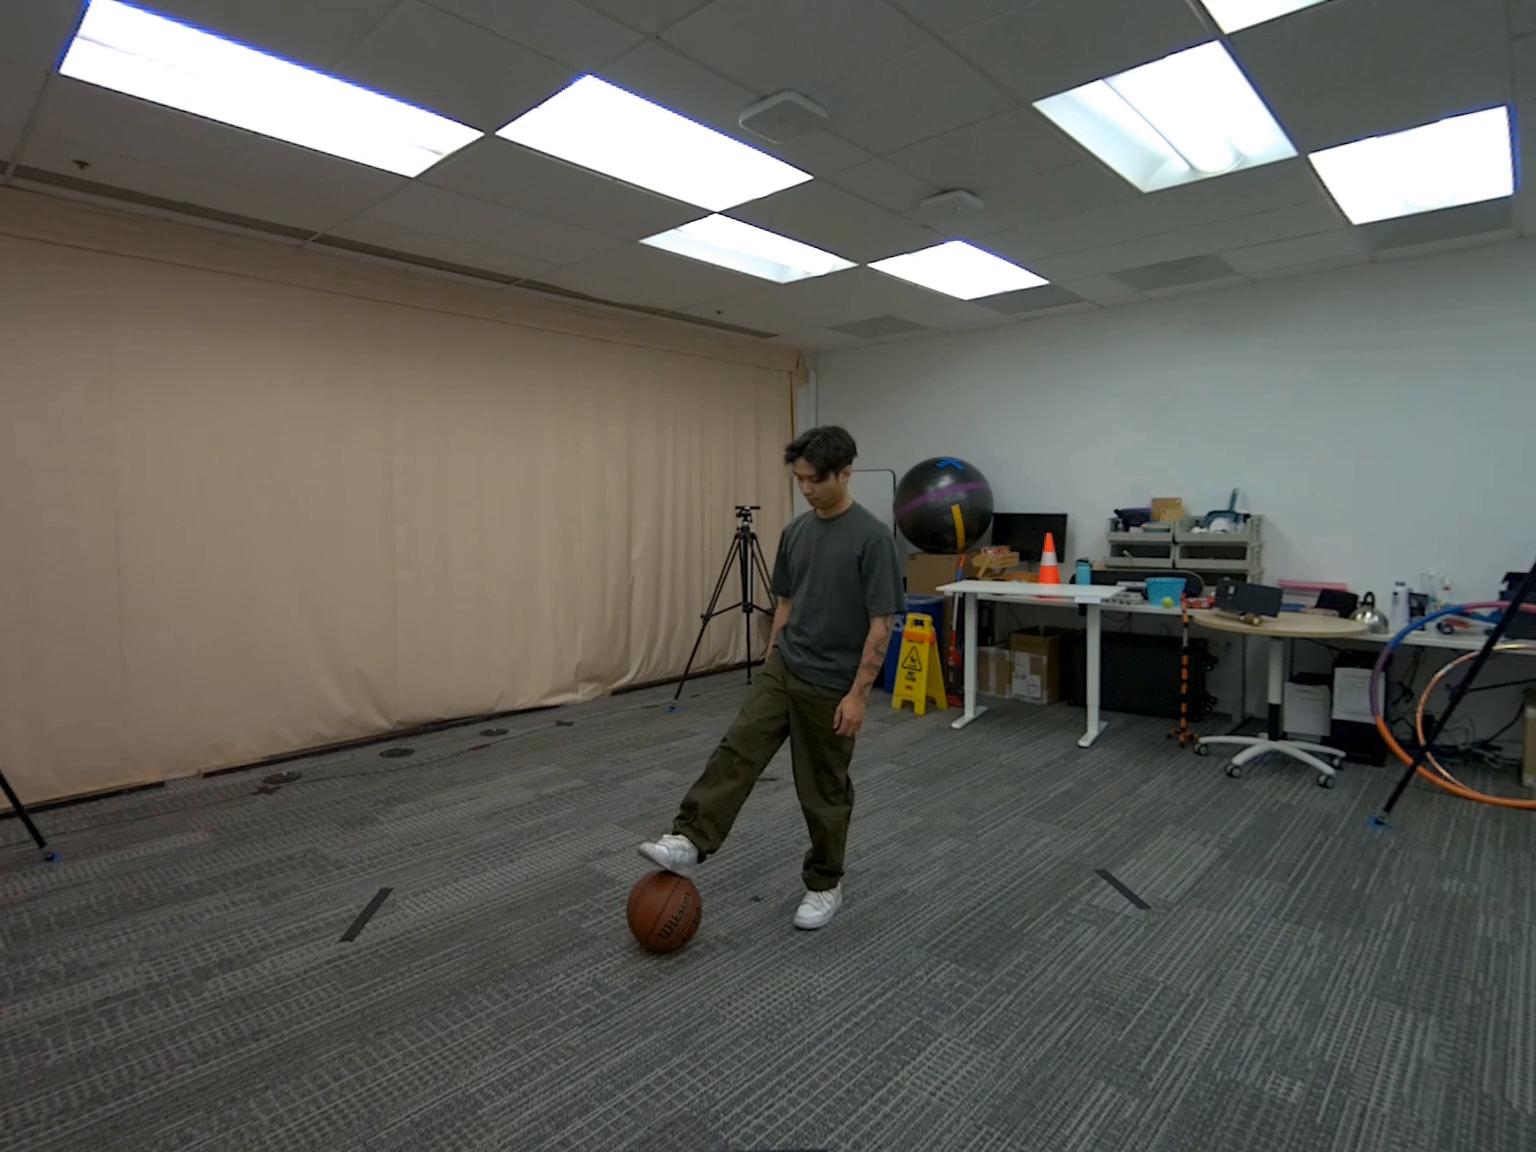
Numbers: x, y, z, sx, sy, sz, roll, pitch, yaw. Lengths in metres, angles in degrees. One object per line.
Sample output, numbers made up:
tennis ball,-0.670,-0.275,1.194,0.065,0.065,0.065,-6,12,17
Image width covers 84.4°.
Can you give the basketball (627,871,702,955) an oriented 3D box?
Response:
basketball,-0.325,1.055,2.660,0.236,0.235,0.237,0,4,-2
